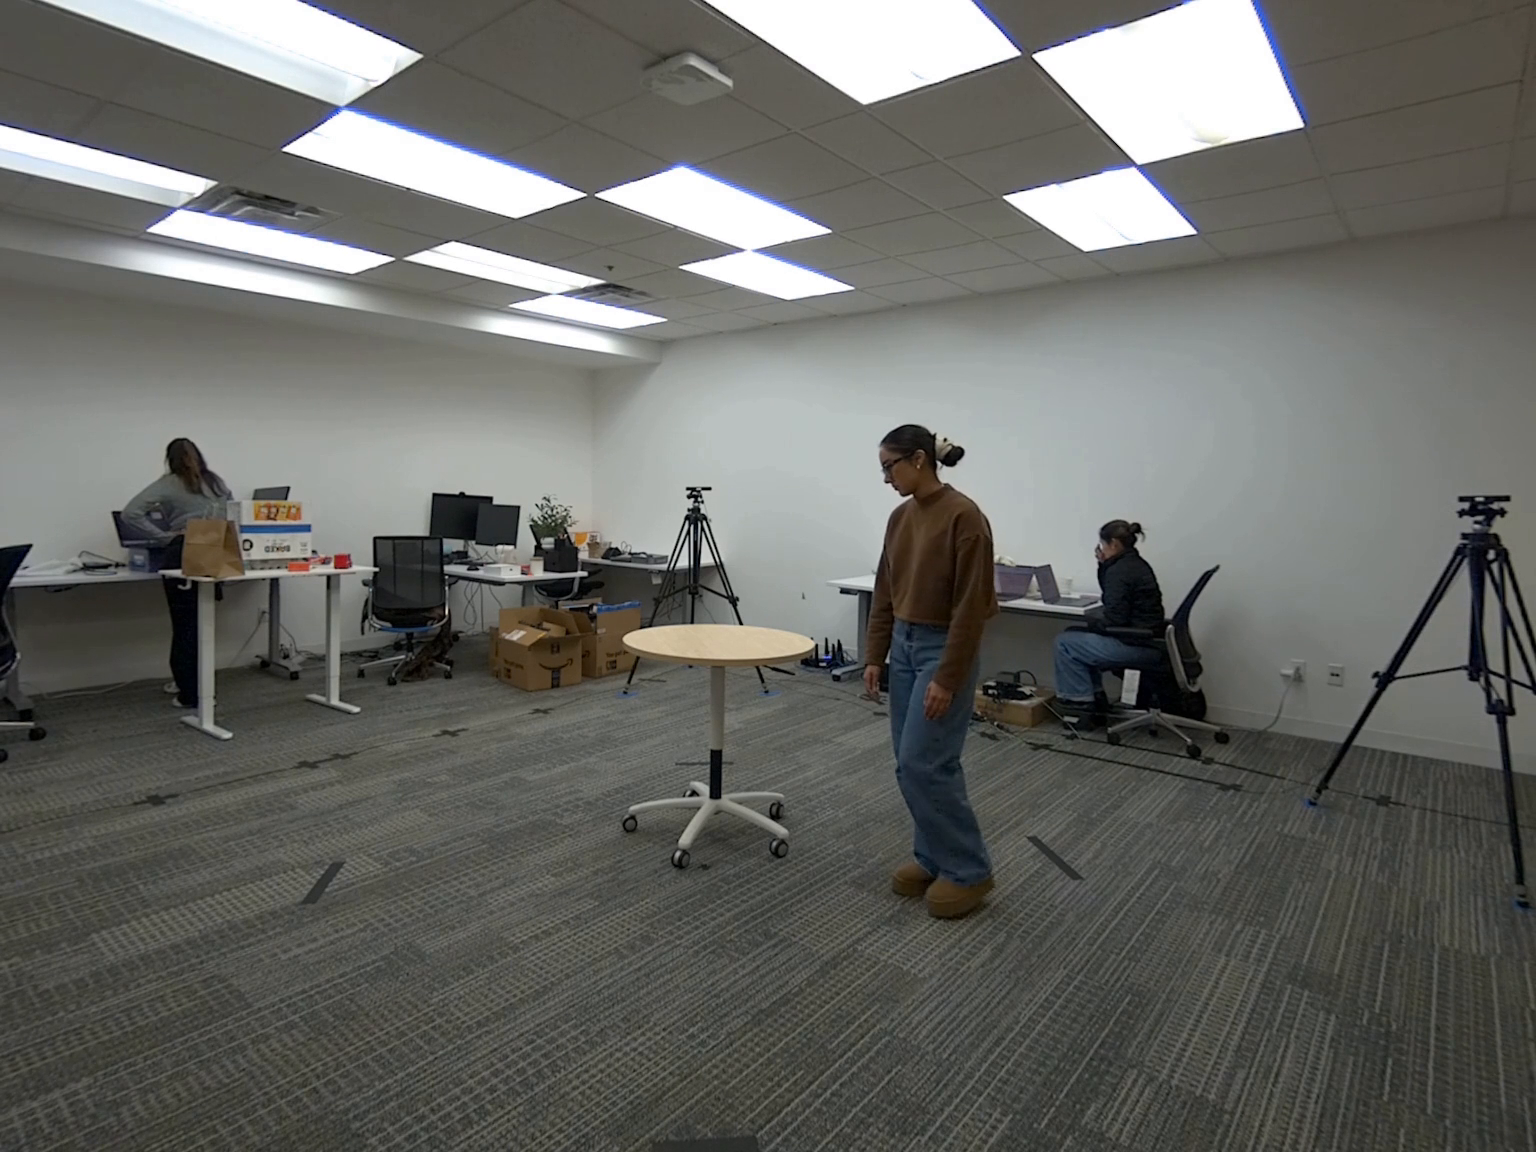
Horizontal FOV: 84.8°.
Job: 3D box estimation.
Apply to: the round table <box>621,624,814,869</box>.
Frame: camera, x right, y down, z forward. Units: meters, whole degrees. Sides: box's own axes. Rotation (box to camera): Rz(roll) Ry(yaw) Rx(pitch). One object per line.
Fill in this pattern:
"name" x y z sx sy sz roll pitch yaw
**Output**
"round table" -0.216 0.646 3.419 0.763 0.791 0.768 1 4 -2
